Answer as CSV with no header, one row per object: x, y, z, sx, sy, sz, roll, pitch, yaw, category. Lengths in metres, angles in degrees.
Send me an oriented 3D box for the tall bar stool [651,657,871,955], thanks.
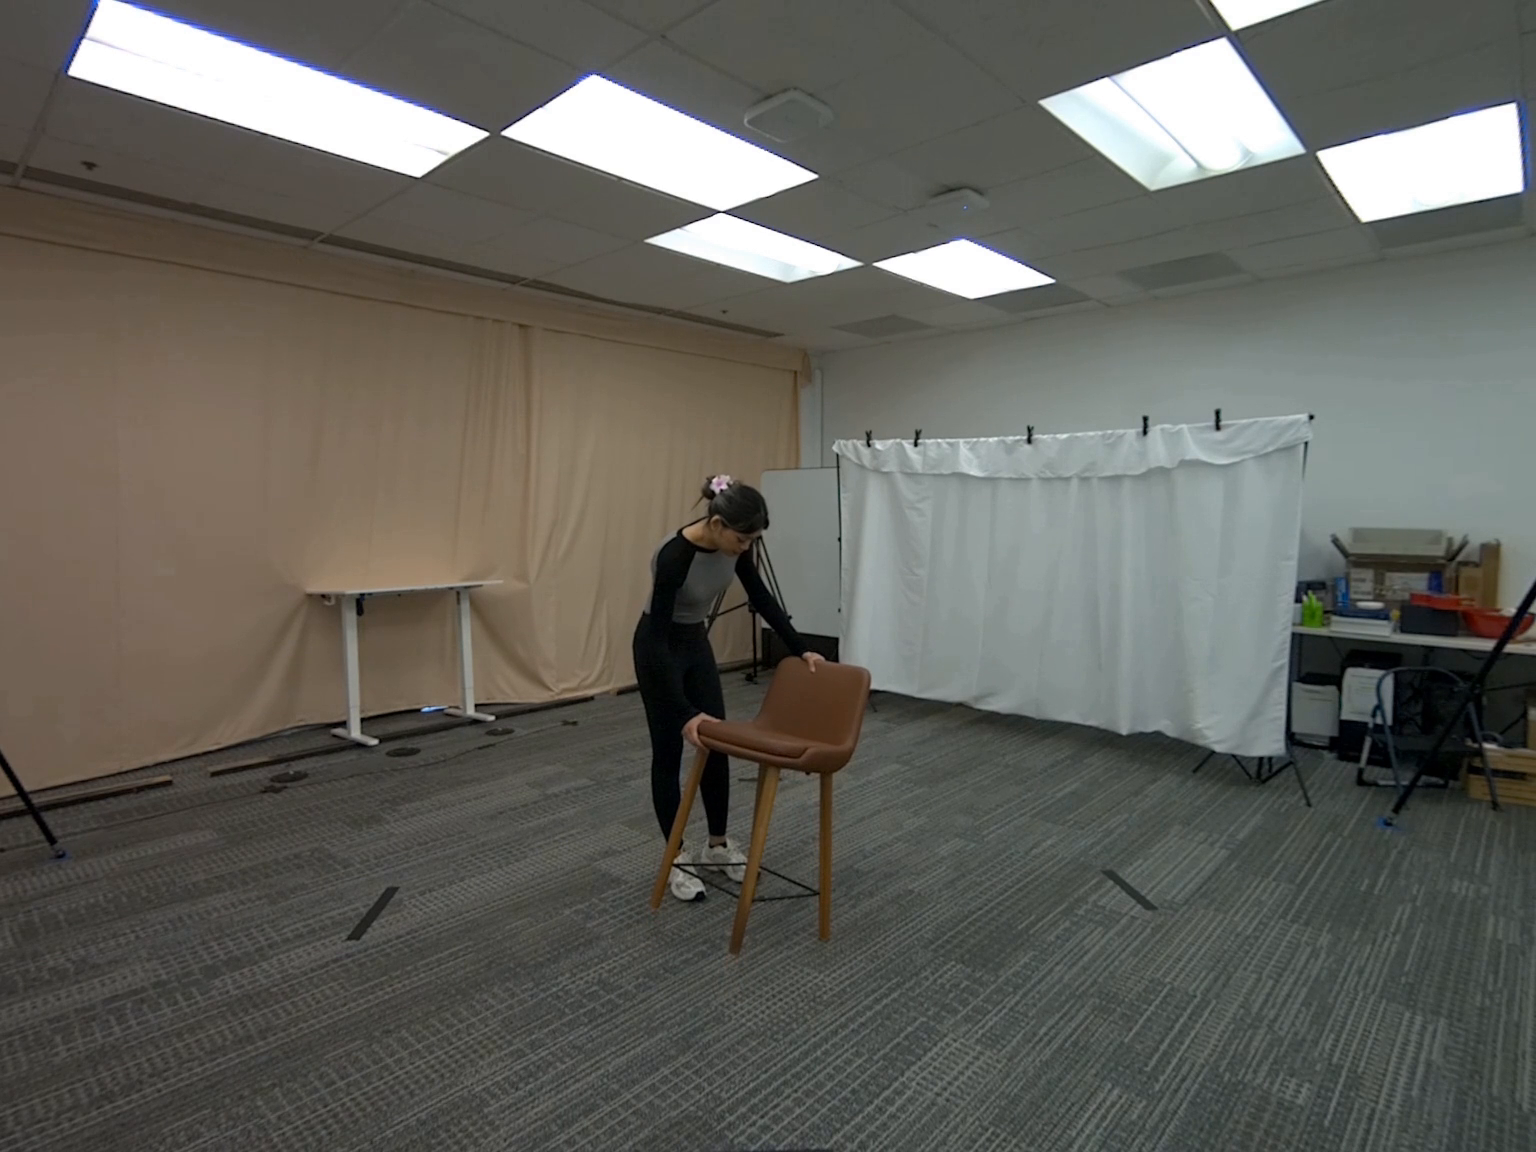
0.003,0.689,2.744,0.451,0.892,0.472,19,-11,-42,tall bar stool
